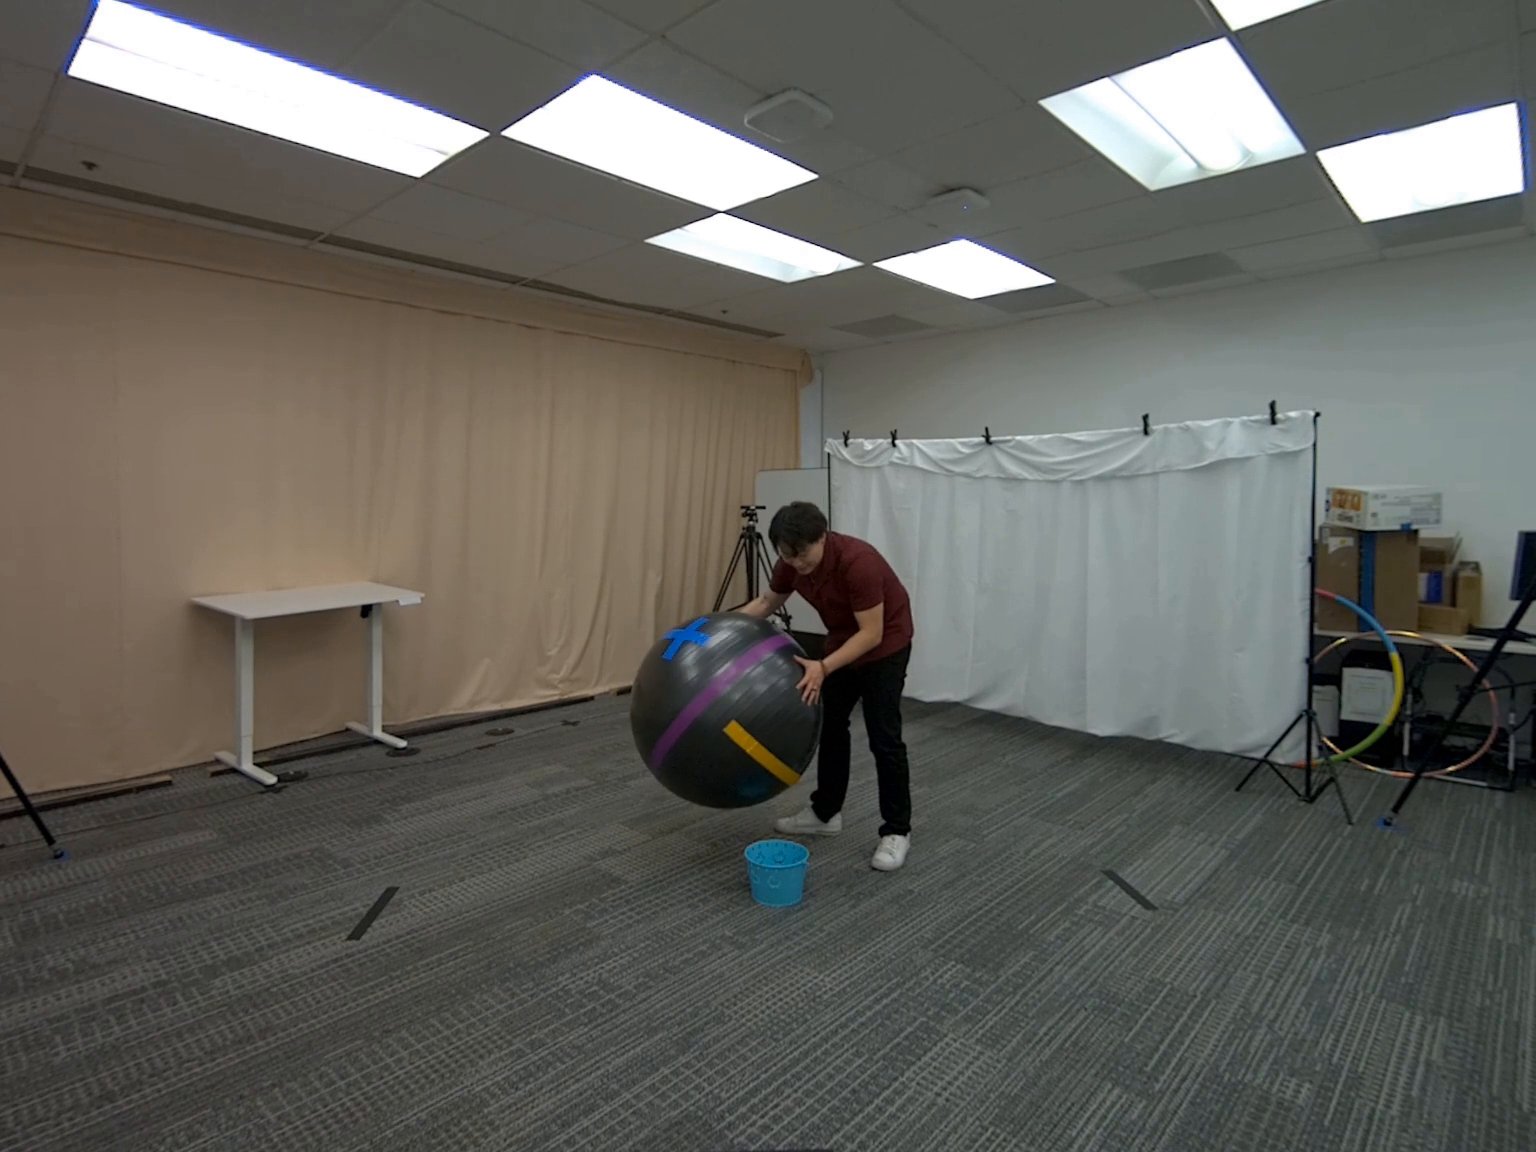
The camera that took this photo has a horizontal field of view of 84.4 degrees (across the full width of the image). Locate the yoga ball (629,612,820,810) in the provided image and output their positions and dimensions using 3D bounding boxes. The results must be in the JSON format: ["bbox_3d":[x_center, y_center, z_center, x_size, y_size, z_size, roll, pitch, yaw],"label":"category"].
[{"bbox_3d":[-0.169,0.528,3.303,0.757,0.756,0.760,0,4,-2],"label":"yoga ball"}]
